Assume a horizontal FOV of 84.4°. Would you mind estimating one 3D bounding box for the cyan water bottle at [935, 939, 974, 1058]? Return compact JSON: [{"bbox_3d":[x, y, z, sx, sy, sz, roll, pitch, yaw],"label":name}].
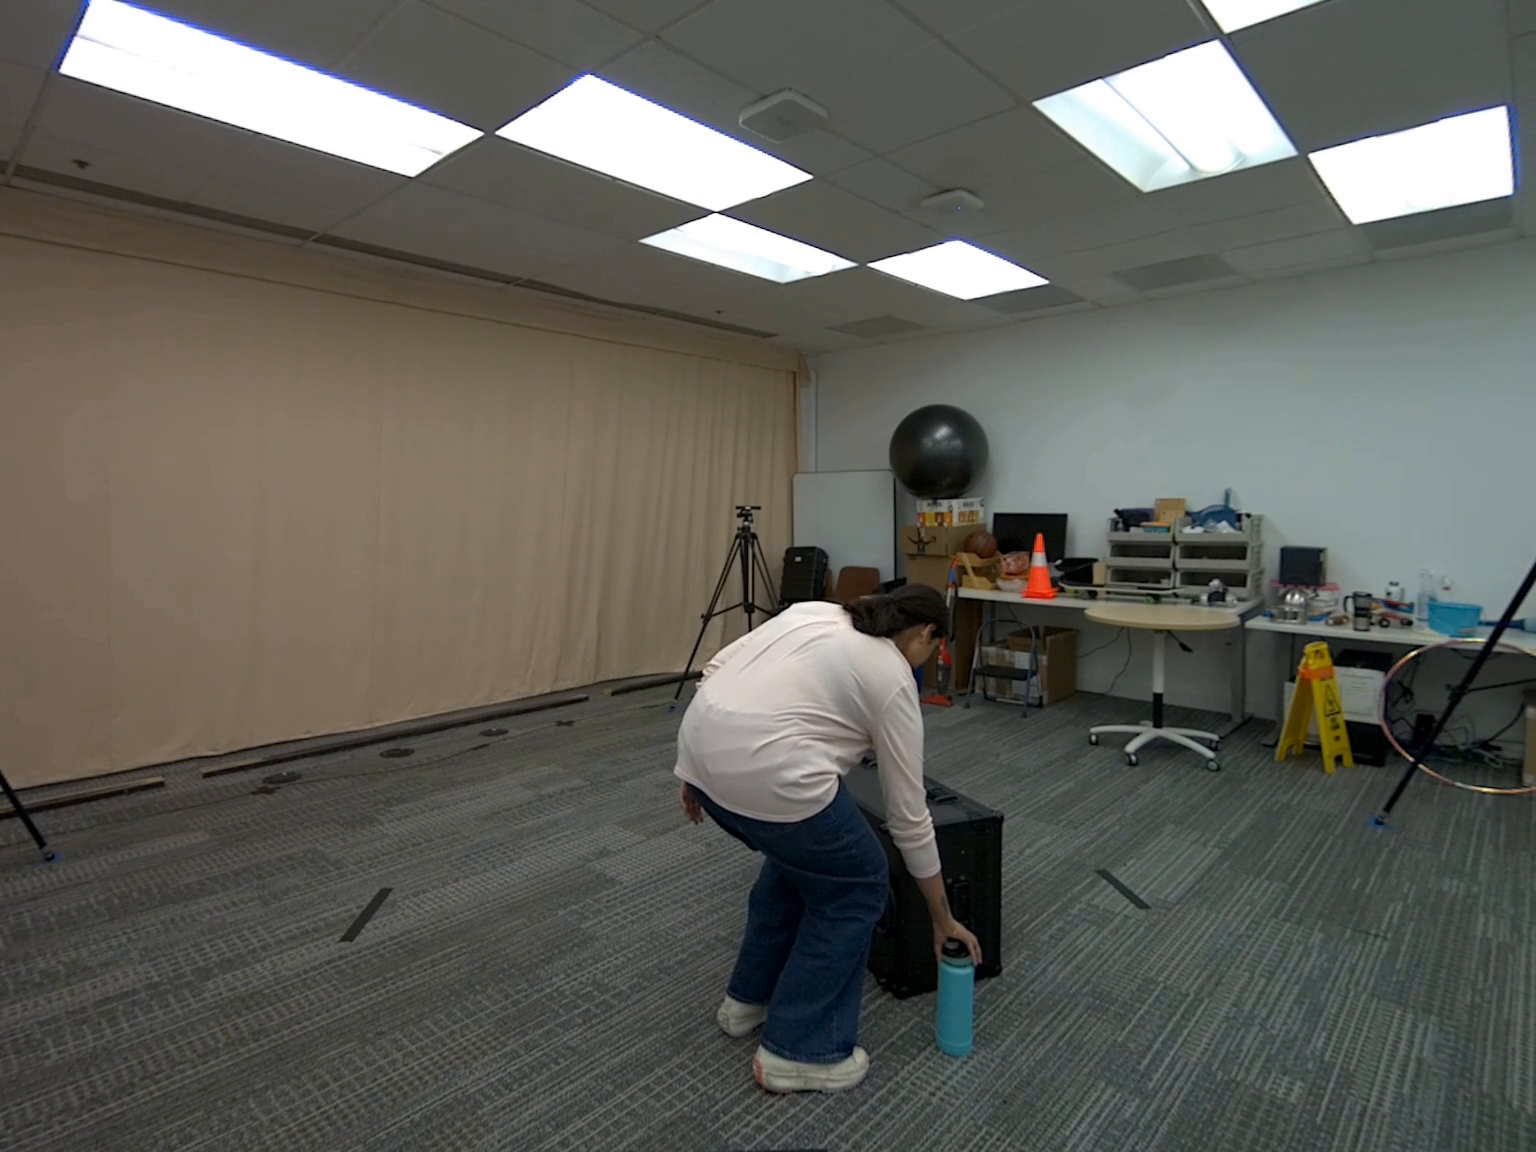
[{"bbox_3d":[0.481,1.066,2.161,0.092,0.283,0.092,2,2,-2],"label":"cyan water bottle"}]
